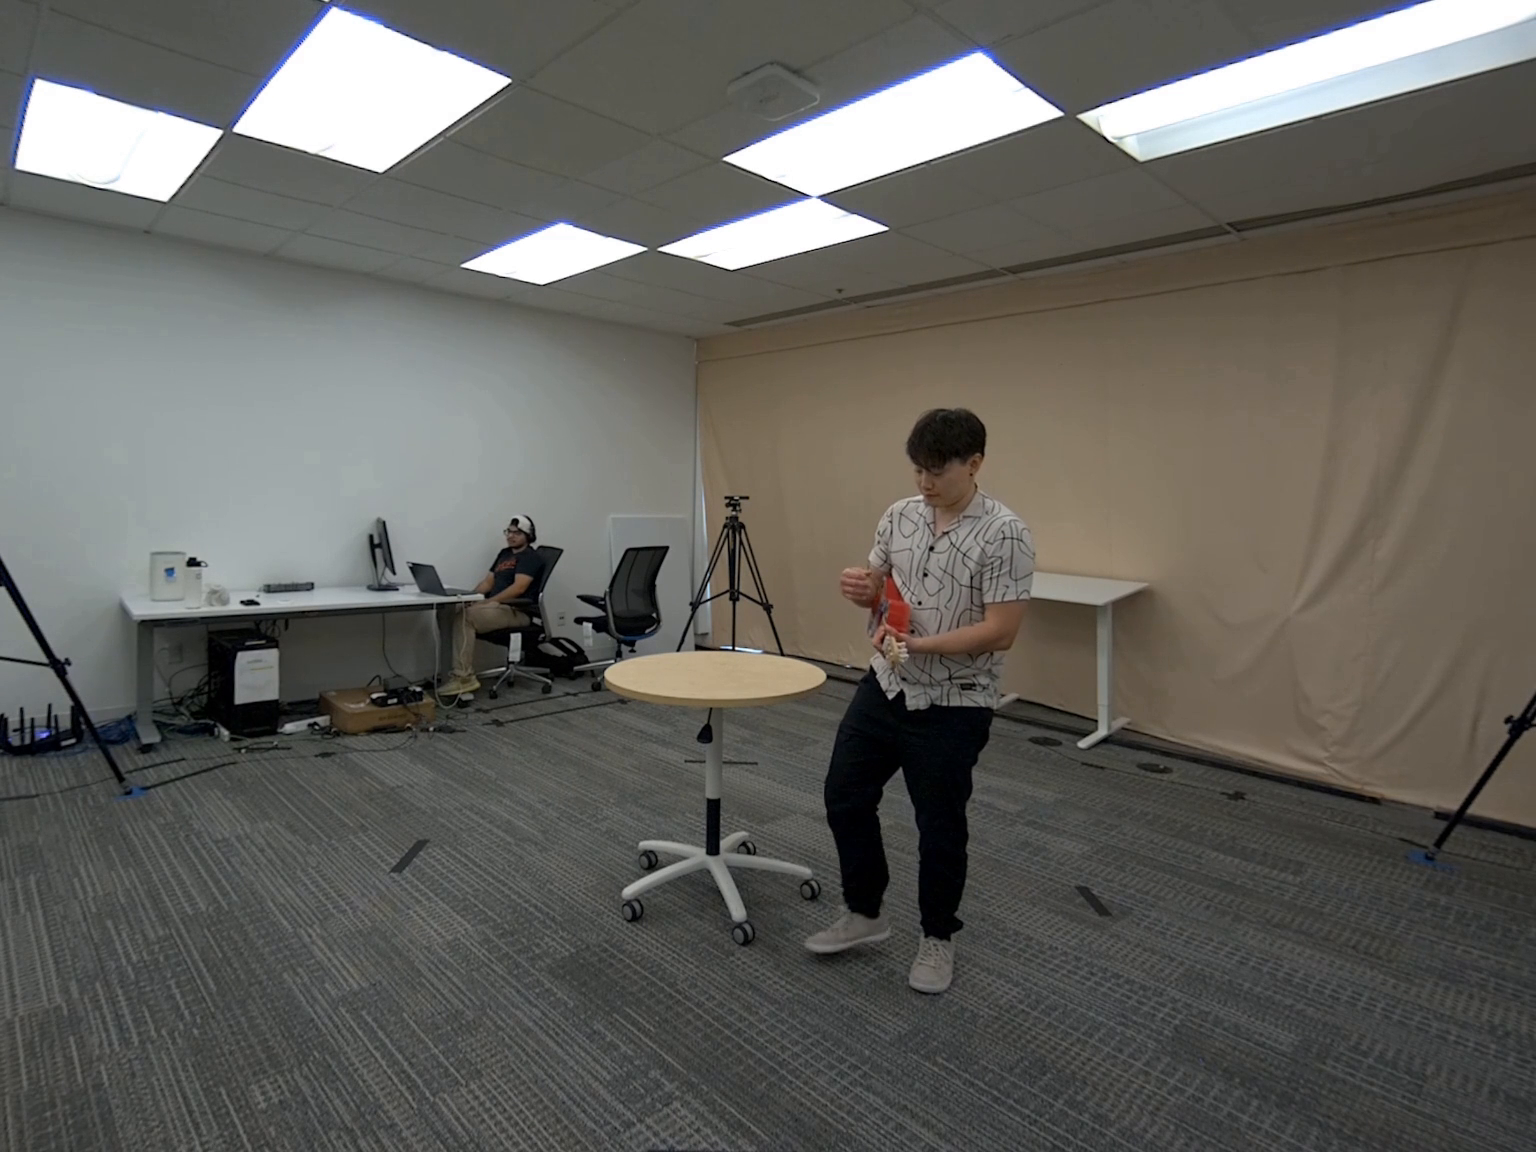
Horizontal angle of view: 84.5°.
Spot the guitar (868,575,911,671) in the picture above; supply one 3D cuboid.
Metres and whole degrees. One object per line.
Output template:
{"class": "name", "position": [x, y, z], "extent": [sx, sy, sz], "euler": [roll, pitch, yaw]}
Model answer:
{"class": "guitar", "position": [0.322, 0.179, 2.355], "extent": [0.071, 0.191, 0.503], "euler": [15, 24, -1]}
